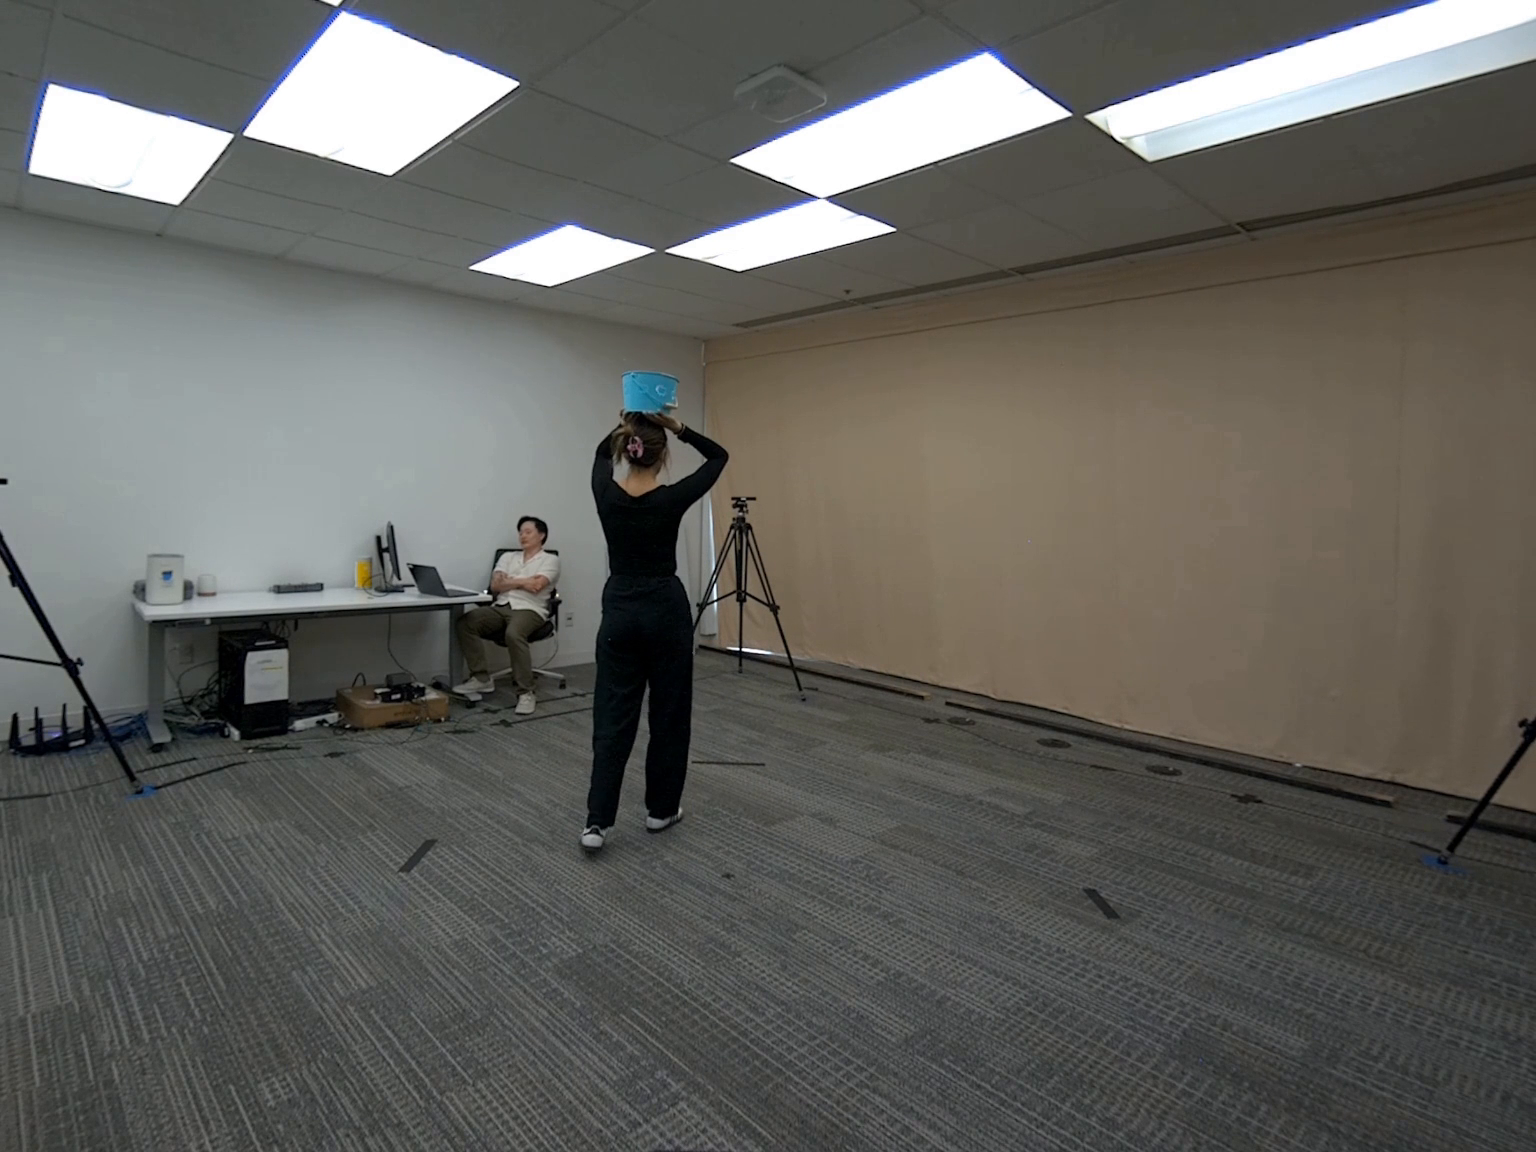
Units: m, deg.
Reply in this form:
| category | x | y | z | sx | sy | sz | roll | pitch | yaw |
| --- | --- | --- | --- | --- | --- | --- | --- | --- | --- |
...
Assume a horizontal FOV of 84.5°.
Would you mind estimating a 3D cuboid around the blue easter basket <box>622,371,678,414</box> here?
| category | x | y | z | sx | sy | sz | roll | pitch | yaw |
| --- | --- | --- | --- | --- | --- | --- | --- | --- | --- |
| blue easter basket | -0.487 | -0.716 | 3.362 | 0.243 | 0.156 | 0.243 | 4 | -2 | -1 |
